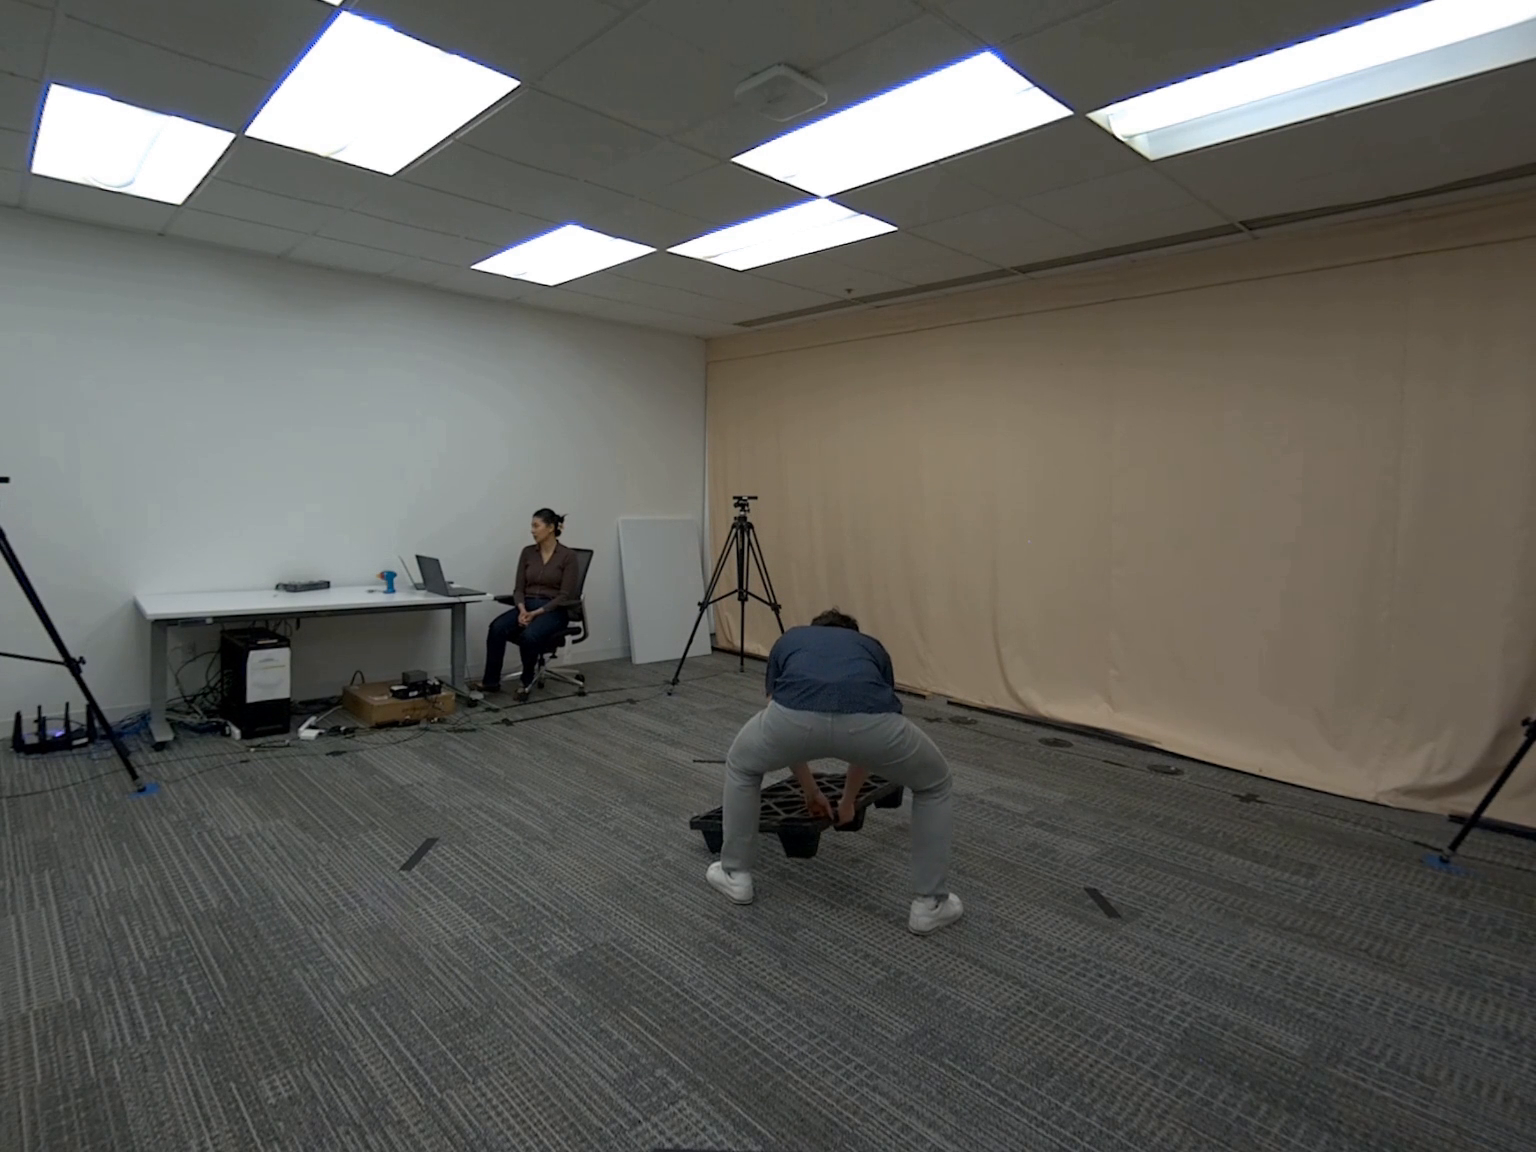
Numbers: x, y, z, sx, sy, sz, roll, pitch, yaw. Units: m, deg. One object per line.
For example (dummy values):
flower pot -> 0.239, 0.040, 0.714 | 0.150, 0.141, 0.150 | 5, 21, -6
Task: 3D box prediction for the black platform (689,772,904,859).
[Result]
black platform -> 0.162, 0.966, 3.444 | 0.616, 0.144, 0.788 | -10, -3, 36
